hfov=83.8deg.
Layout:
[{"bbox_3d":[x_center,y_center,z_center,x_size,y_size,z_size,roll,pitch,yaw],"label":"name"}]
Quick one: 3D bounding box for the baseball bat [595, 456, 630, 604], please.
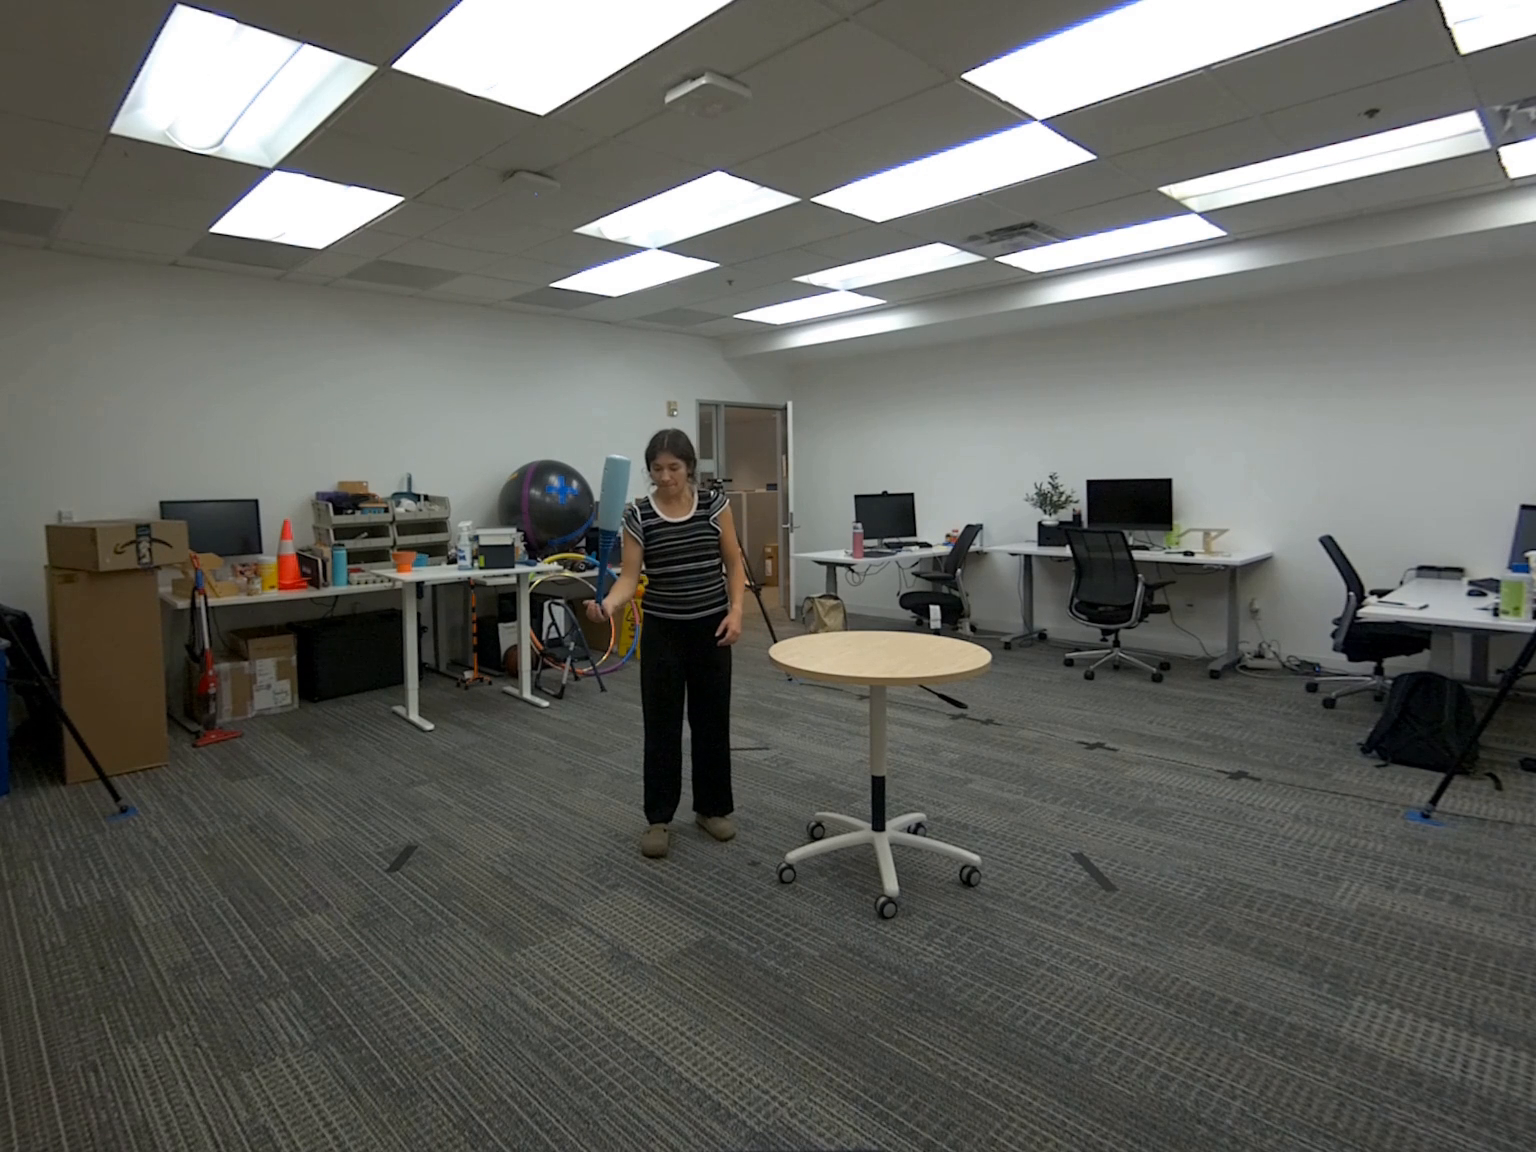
[{"bbox_3d":[-0.540,-0.135,2.902,0.089,0.541,0.089,8,3,-2],"label":"baseball bat"}]
